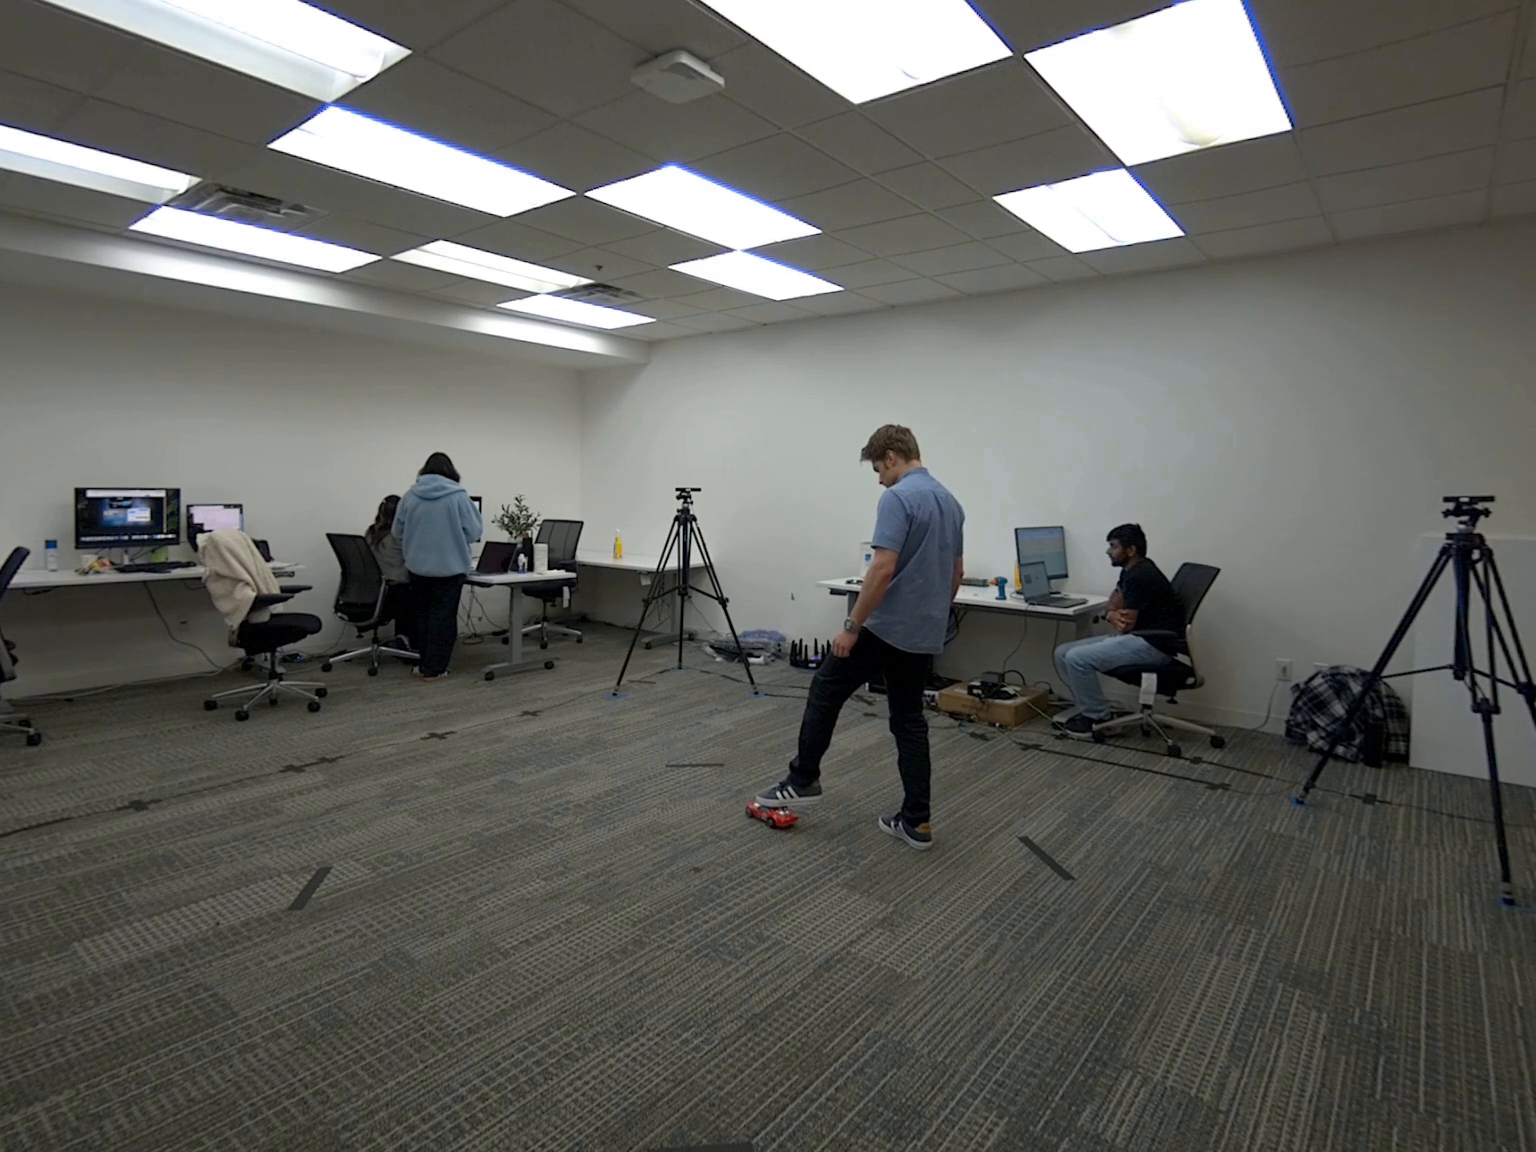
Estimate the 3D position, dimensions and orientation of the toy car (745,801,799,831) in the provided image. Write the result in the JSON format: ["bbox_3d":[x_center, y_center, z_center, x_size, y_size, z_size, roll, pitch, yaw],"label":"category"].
[{"bbox_3d":[0.016,0.997,3.569,0.126,0.084,0.261,0,-6,-39],"label":"toy car"}]
